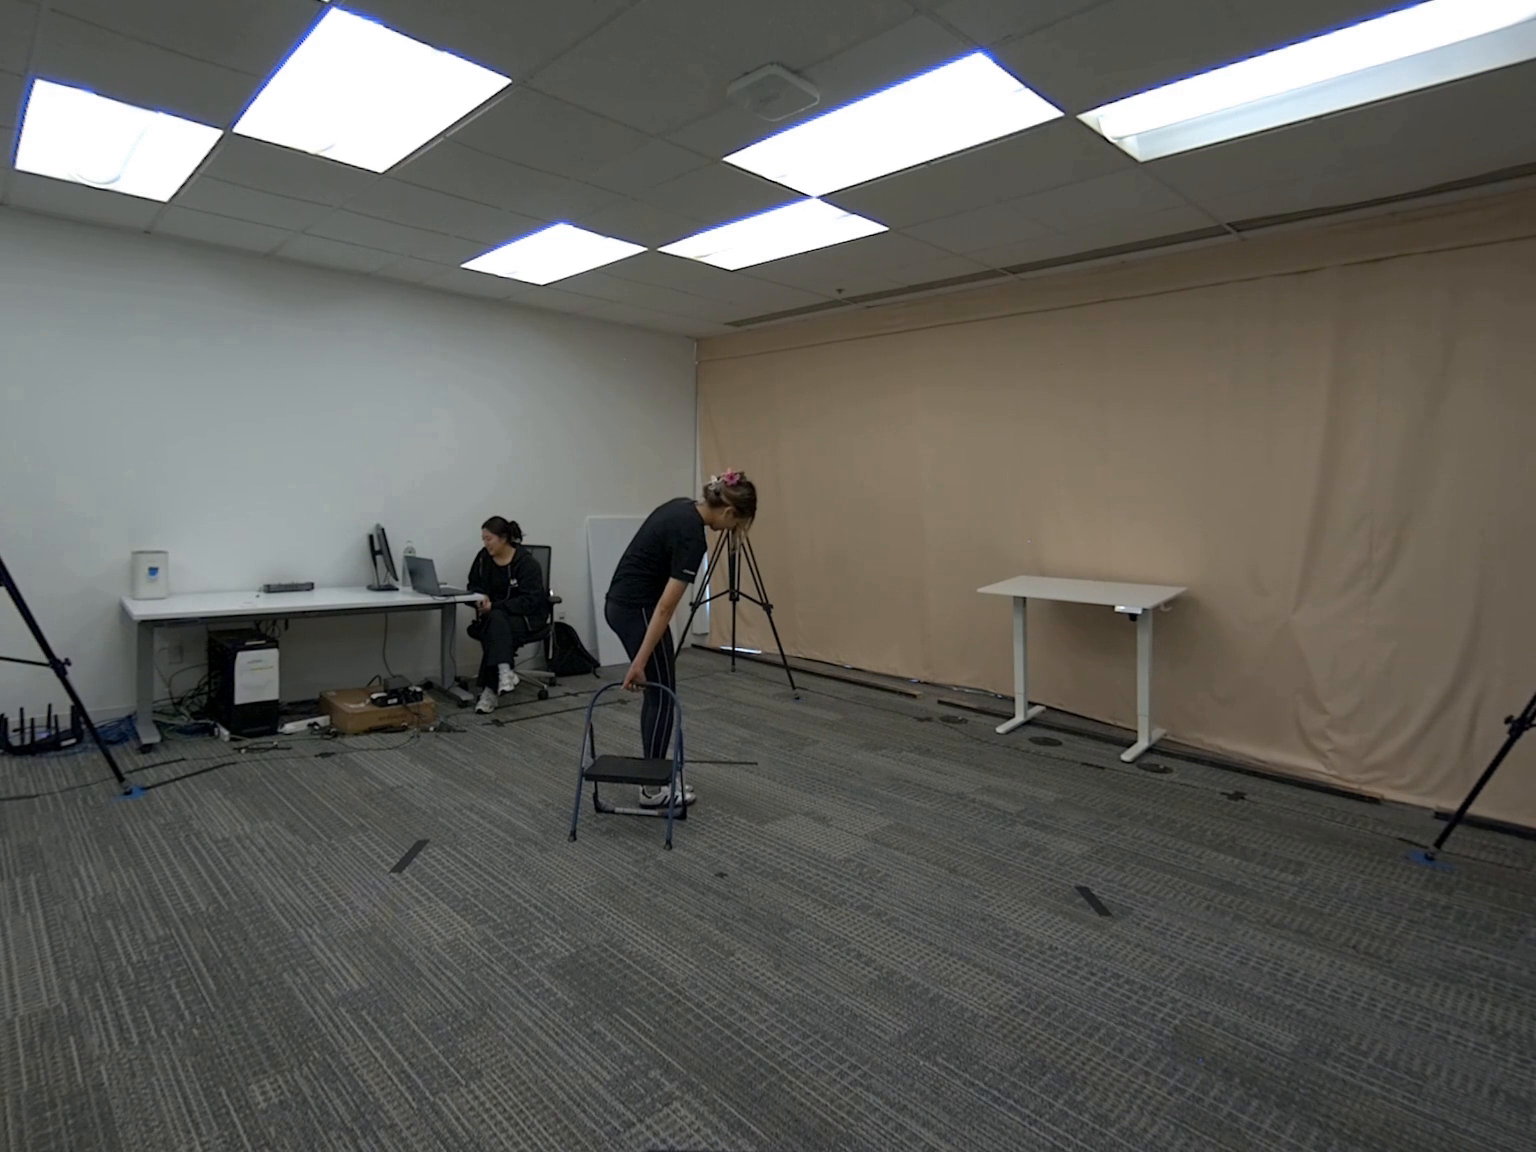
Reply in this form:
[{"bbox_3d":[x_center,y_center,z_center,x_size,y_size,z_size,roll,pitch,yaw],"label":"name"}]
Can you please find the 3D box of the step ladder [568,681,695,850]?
[{"bbox_3d":[-0.574,0.762,3.498,0.433,0.604,0.348,2,4,7],"label":"step ladder"}]
